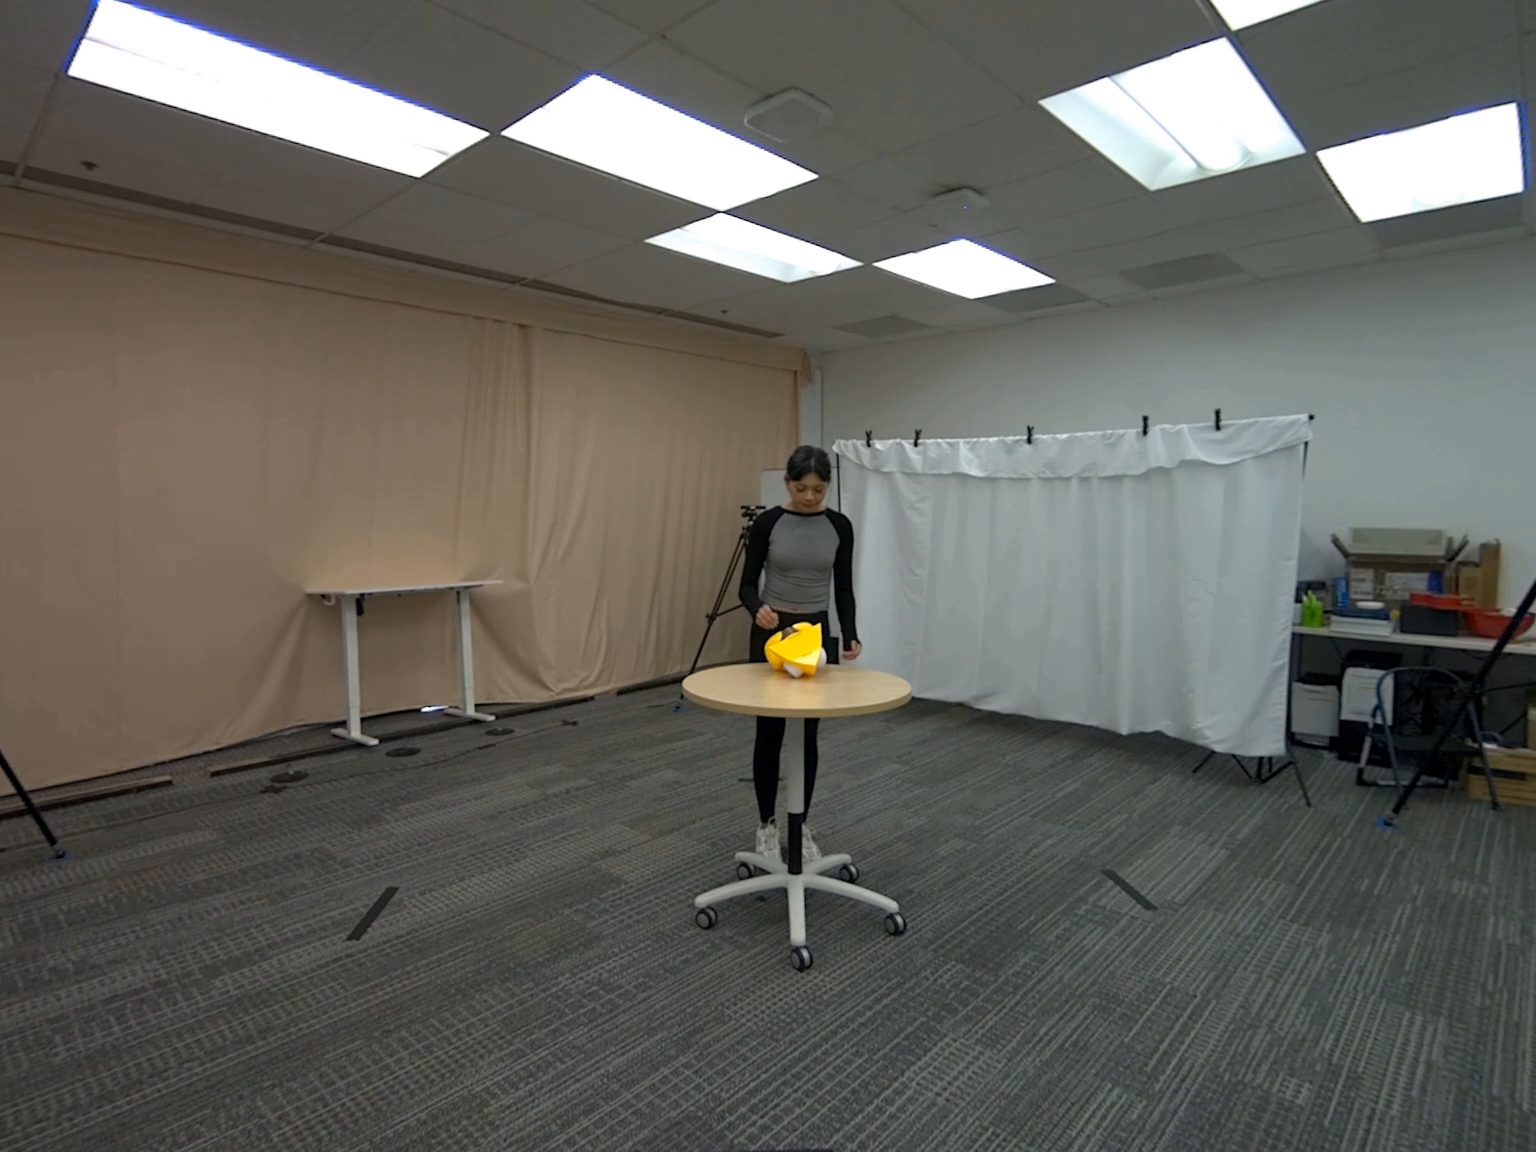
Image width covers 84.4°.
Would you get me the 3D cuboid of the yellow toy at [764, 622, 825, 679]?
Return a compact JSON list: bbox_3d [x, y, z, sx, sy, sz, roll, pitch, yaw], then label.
[{"bbox_3d":[0.121,0.296,2.956,0.203,0.188,0.238,-25,33,-9],"label":"yellow toy"}]
